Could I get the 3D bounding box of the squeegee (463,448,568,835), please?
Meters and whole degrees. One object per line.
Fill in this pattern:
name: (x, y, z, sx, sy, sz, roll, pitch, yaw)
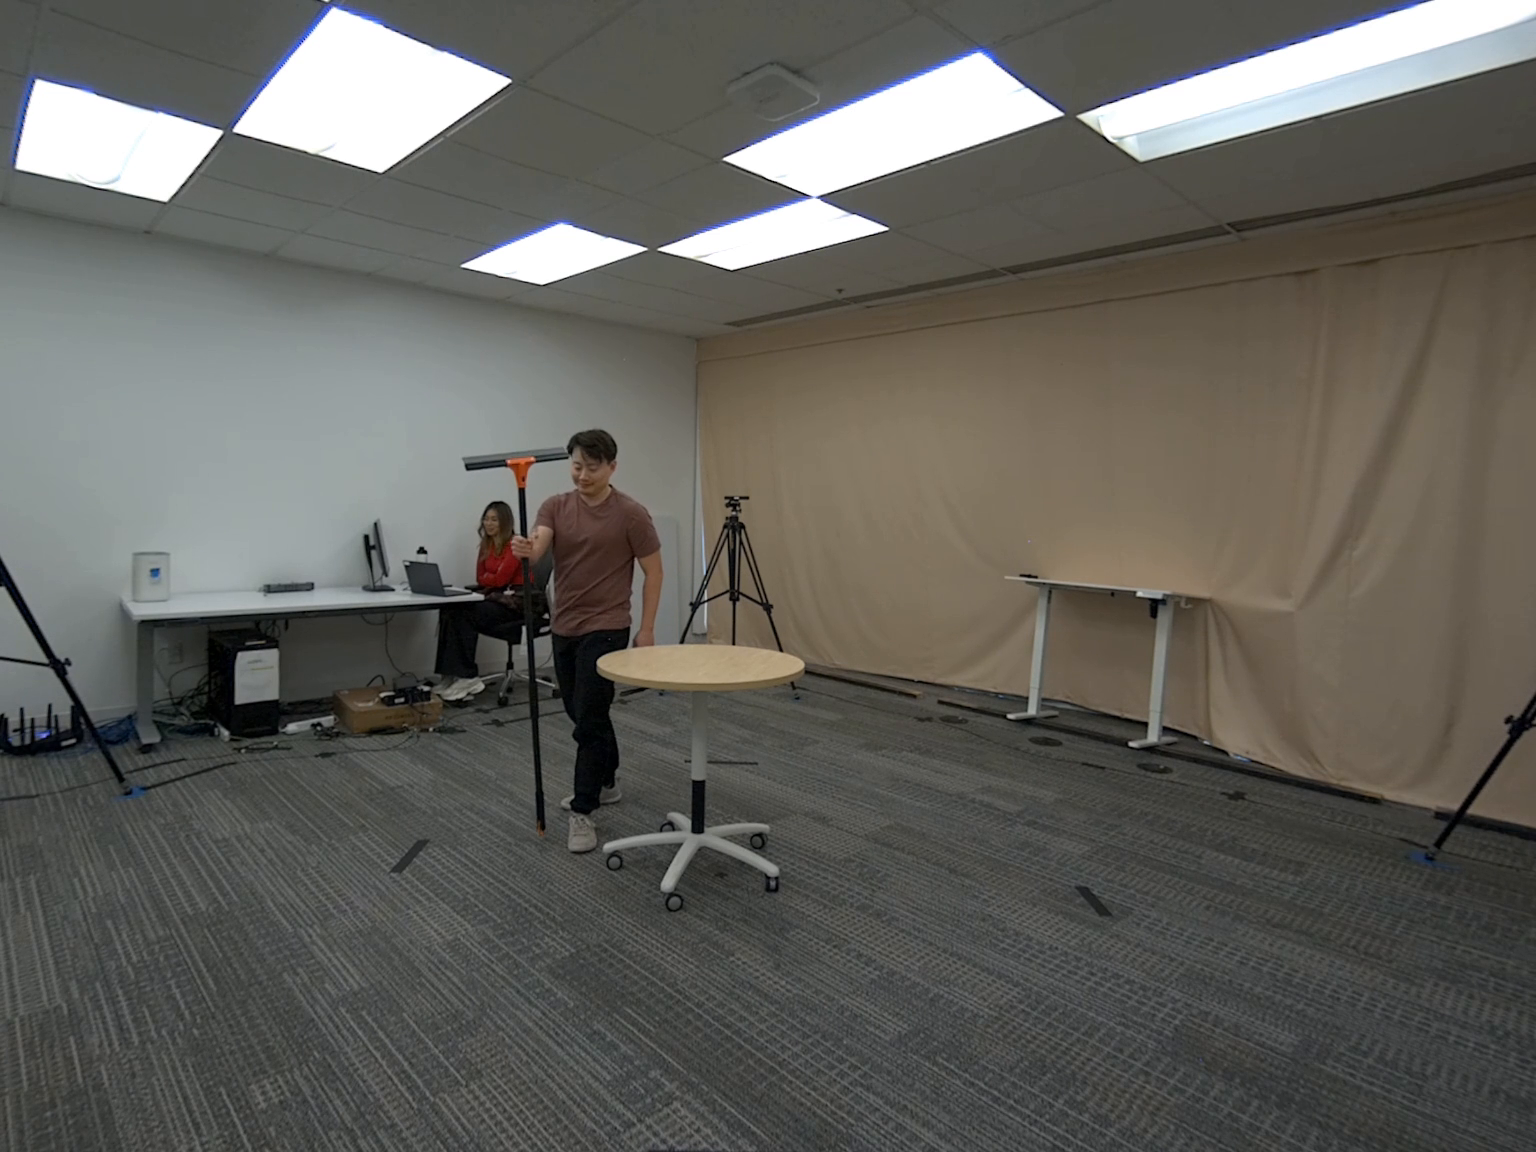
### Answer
squeegee: (-0.891, 0.291, 3.201, 0.054, 1.523, 0.430, 10, 16, 41)
